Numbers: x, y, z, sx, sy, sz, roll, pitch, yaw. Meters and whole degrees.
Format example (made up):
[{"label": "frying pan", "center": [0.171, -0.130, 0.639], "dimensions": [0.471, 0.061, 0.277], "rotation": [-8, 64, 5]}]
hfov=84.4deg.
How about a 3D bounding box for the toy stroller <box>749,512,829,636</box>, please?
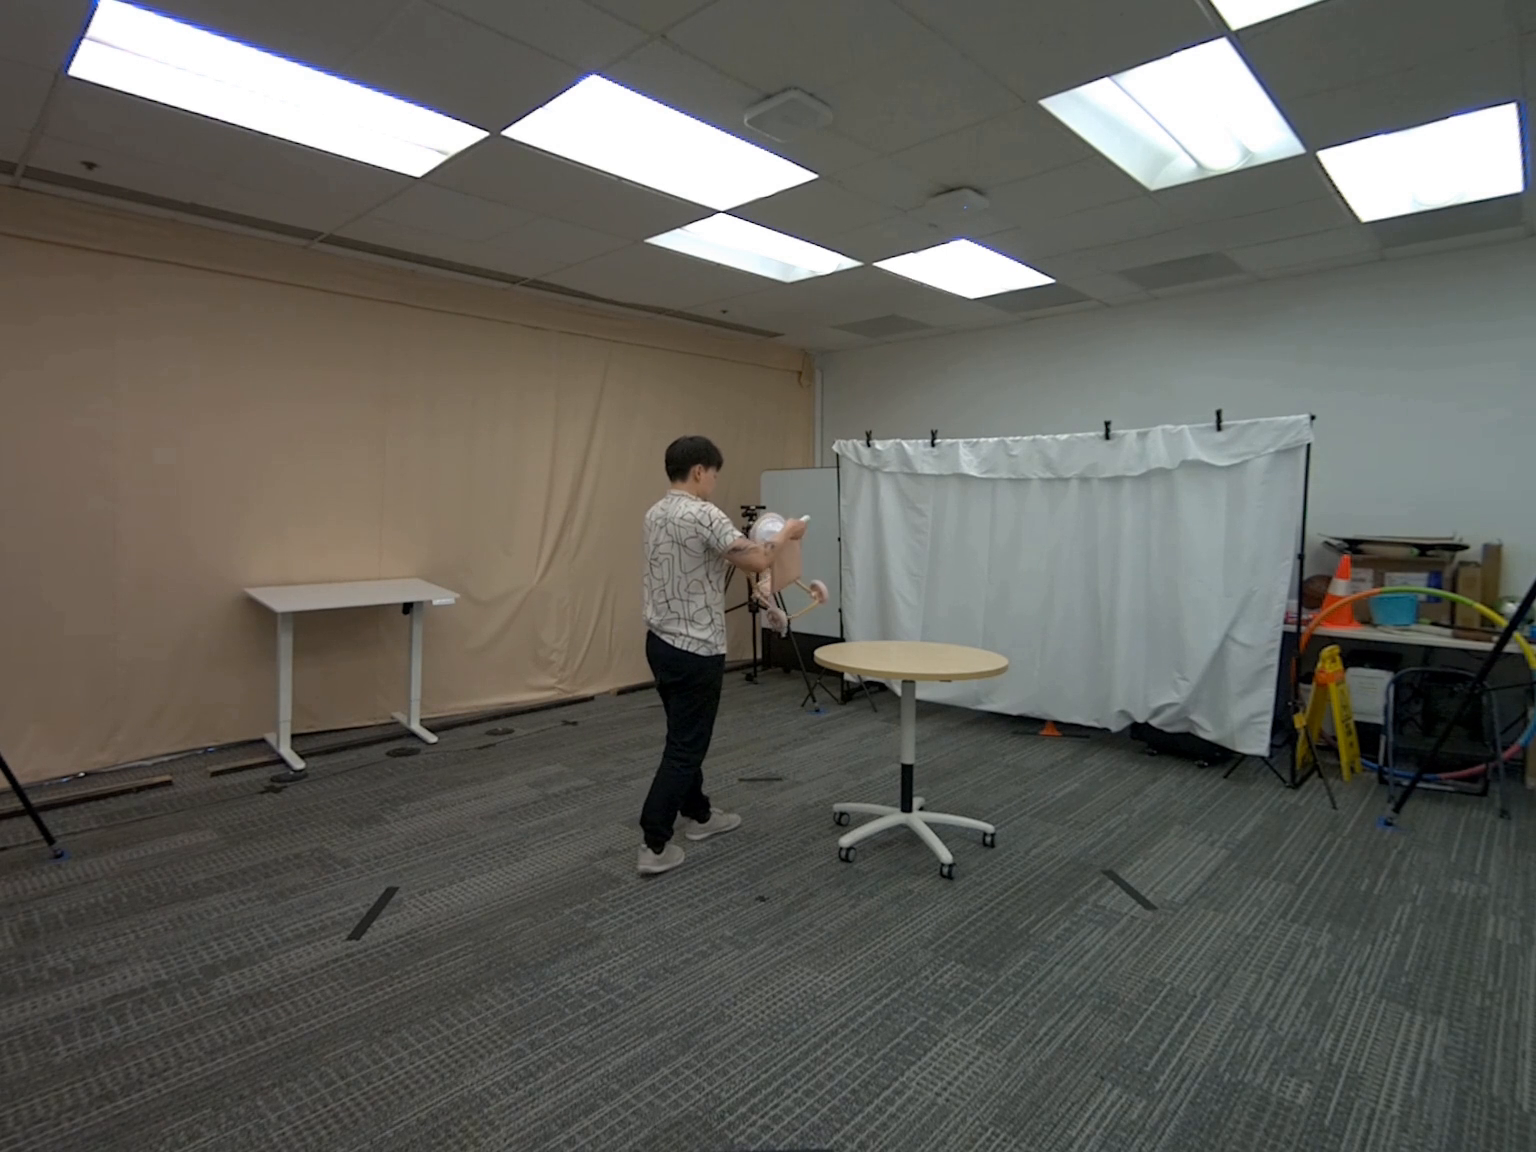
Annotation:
[{"label": "toy stroller", "center": [0.039, -0.040, 3.589], "dimensions": [0.277, 0.524, 0.354], "rotation": [-27, 34, -26]}]
